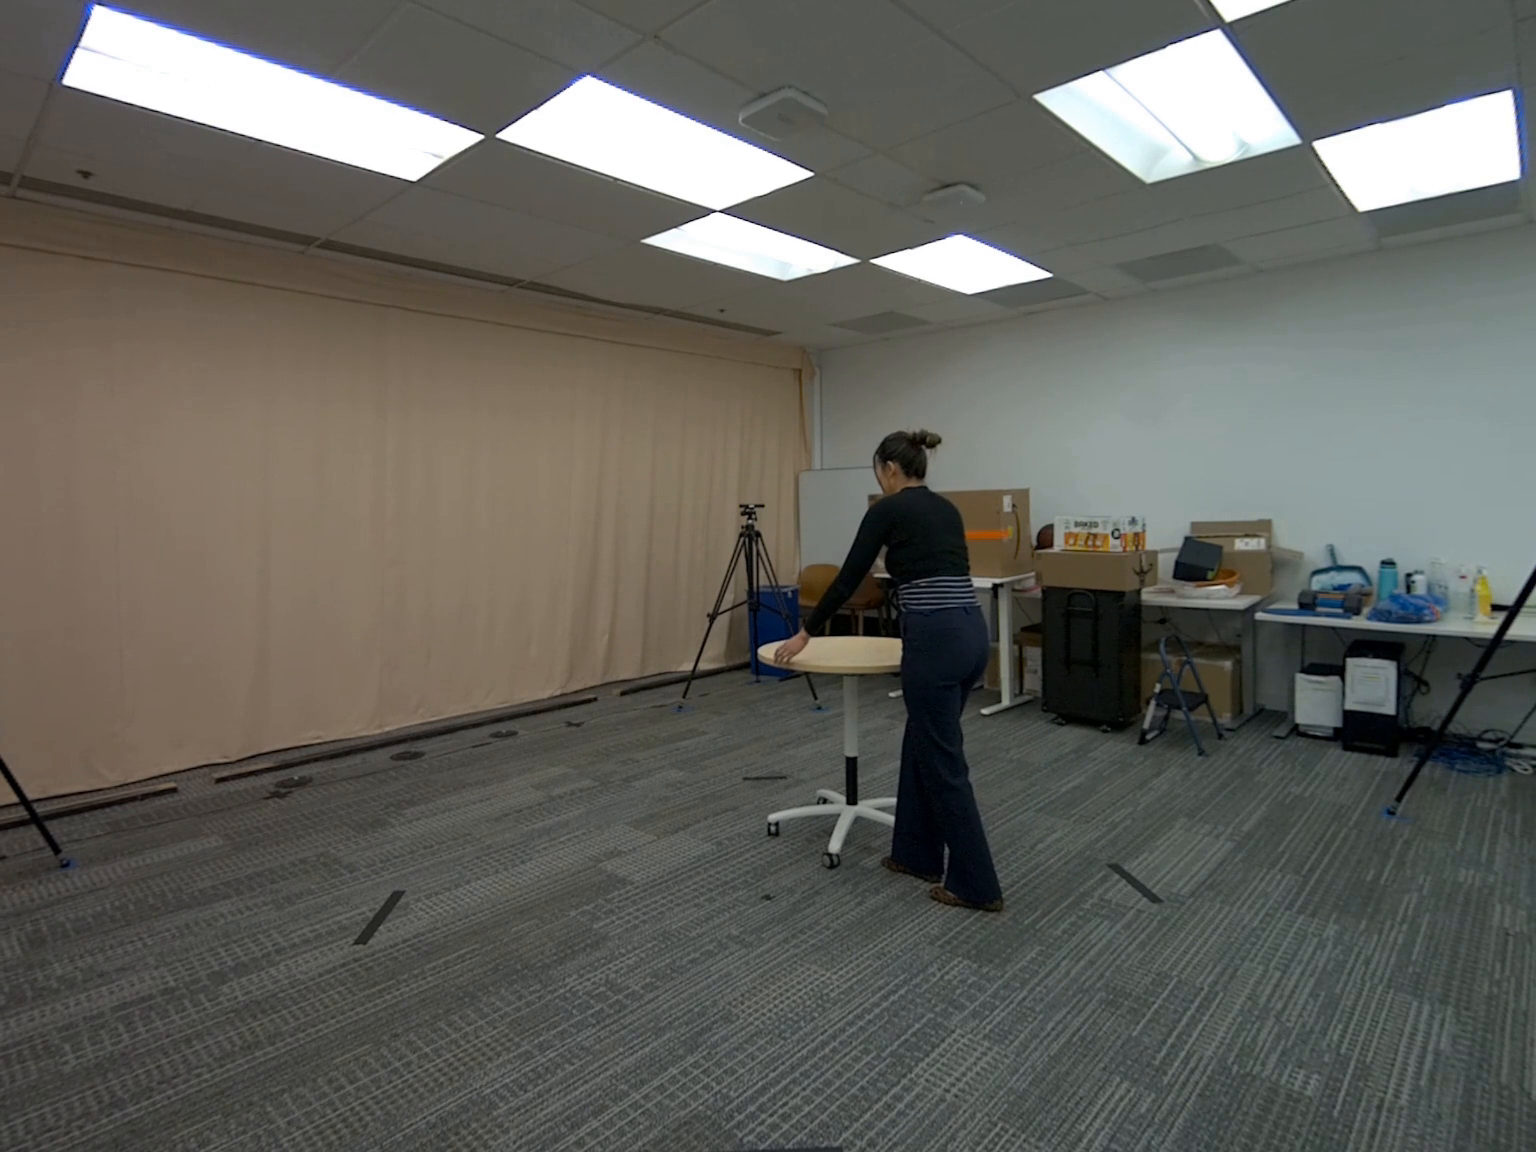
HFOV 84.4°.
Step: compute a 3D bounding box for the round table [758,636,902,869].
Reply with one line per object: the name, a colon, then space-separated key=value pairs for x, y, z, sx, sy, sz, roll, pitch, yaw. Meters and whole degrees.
round table: x=0.349 y=0.700 z=3.491 sx=0.763 sy=0.792 sz=0.766 roll=-1 pitch=3 yaw=-2
